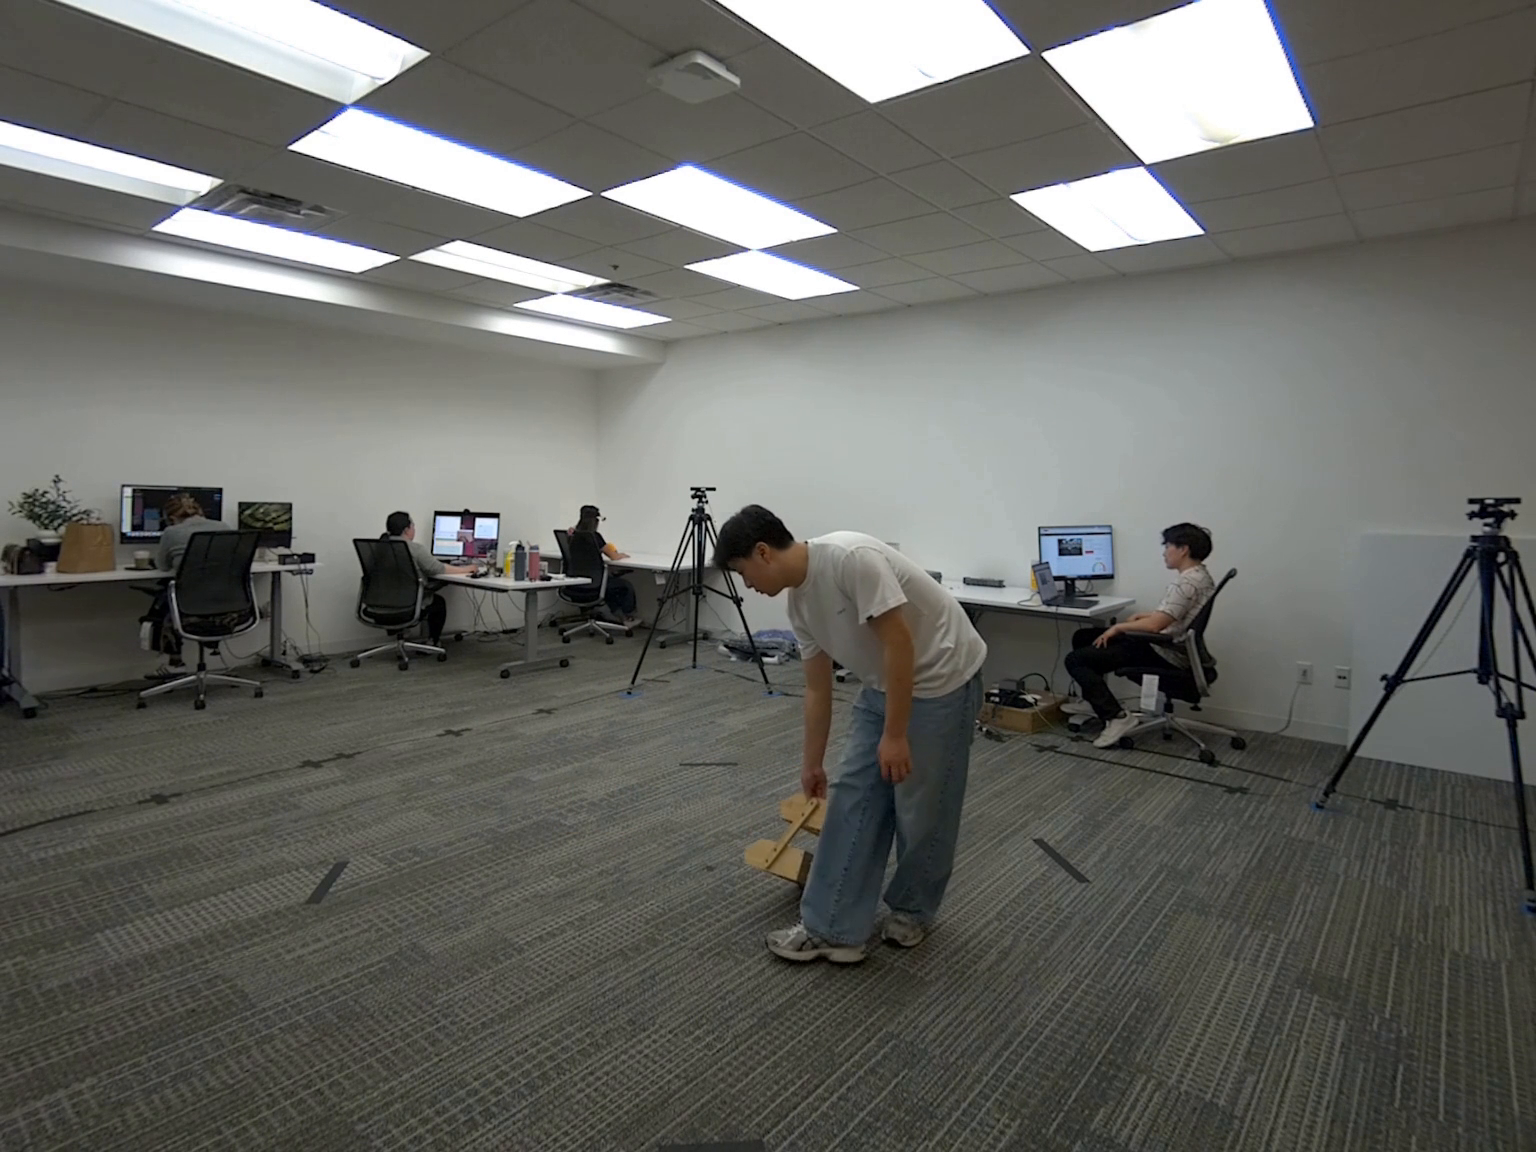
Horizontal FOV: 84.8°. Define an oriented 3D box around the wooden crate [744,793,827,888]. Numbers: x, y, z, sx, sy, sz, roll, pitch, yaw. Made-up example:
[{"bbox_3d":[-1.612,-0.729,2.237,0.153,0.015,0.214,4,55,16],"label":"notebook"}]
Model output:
[{"bbox_3d":[0.136,0.894,2.866,0.311,0.276,0.311,-2,-29,45],"label":"wooden crate"}]
